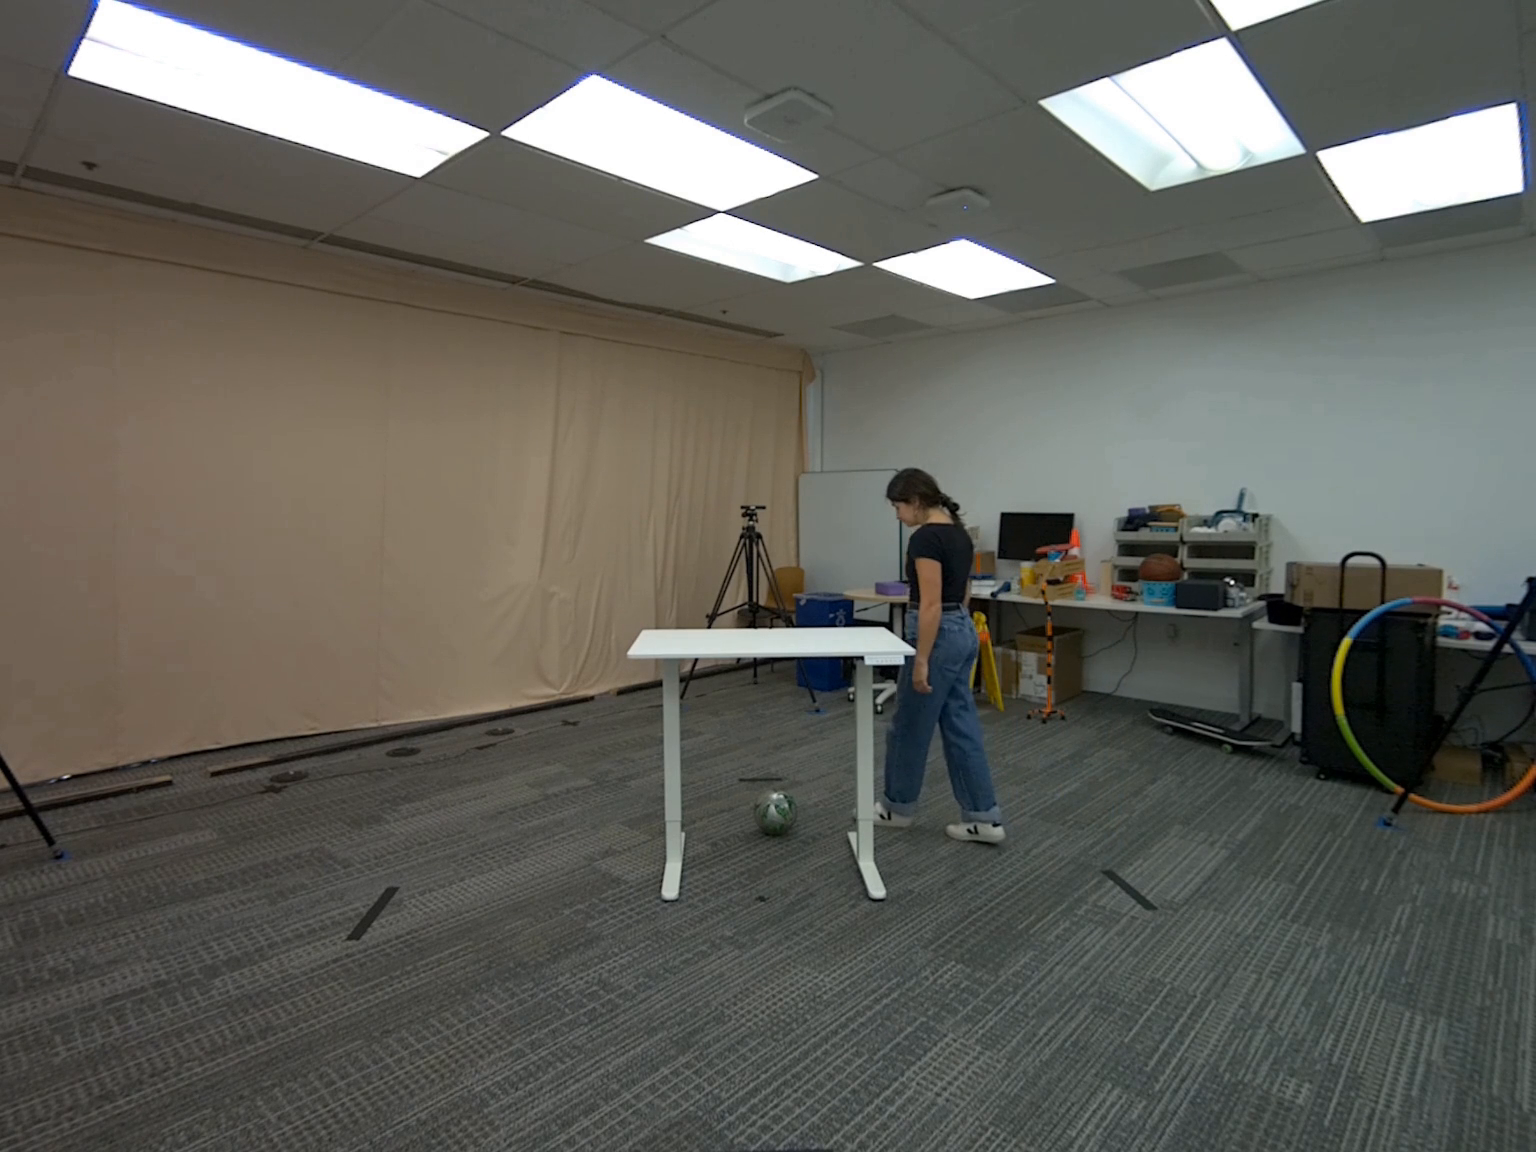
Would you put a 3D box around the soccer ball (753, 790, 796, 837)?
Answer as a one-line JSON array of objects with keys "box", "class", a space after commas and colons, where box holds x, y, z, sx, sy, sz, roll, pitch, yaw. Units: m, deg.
[{"box": [0.043, 1.002, 3.577, 0.187, 0.187, 0.188, 0, 4, -2], "class": "soccer ball"}]
